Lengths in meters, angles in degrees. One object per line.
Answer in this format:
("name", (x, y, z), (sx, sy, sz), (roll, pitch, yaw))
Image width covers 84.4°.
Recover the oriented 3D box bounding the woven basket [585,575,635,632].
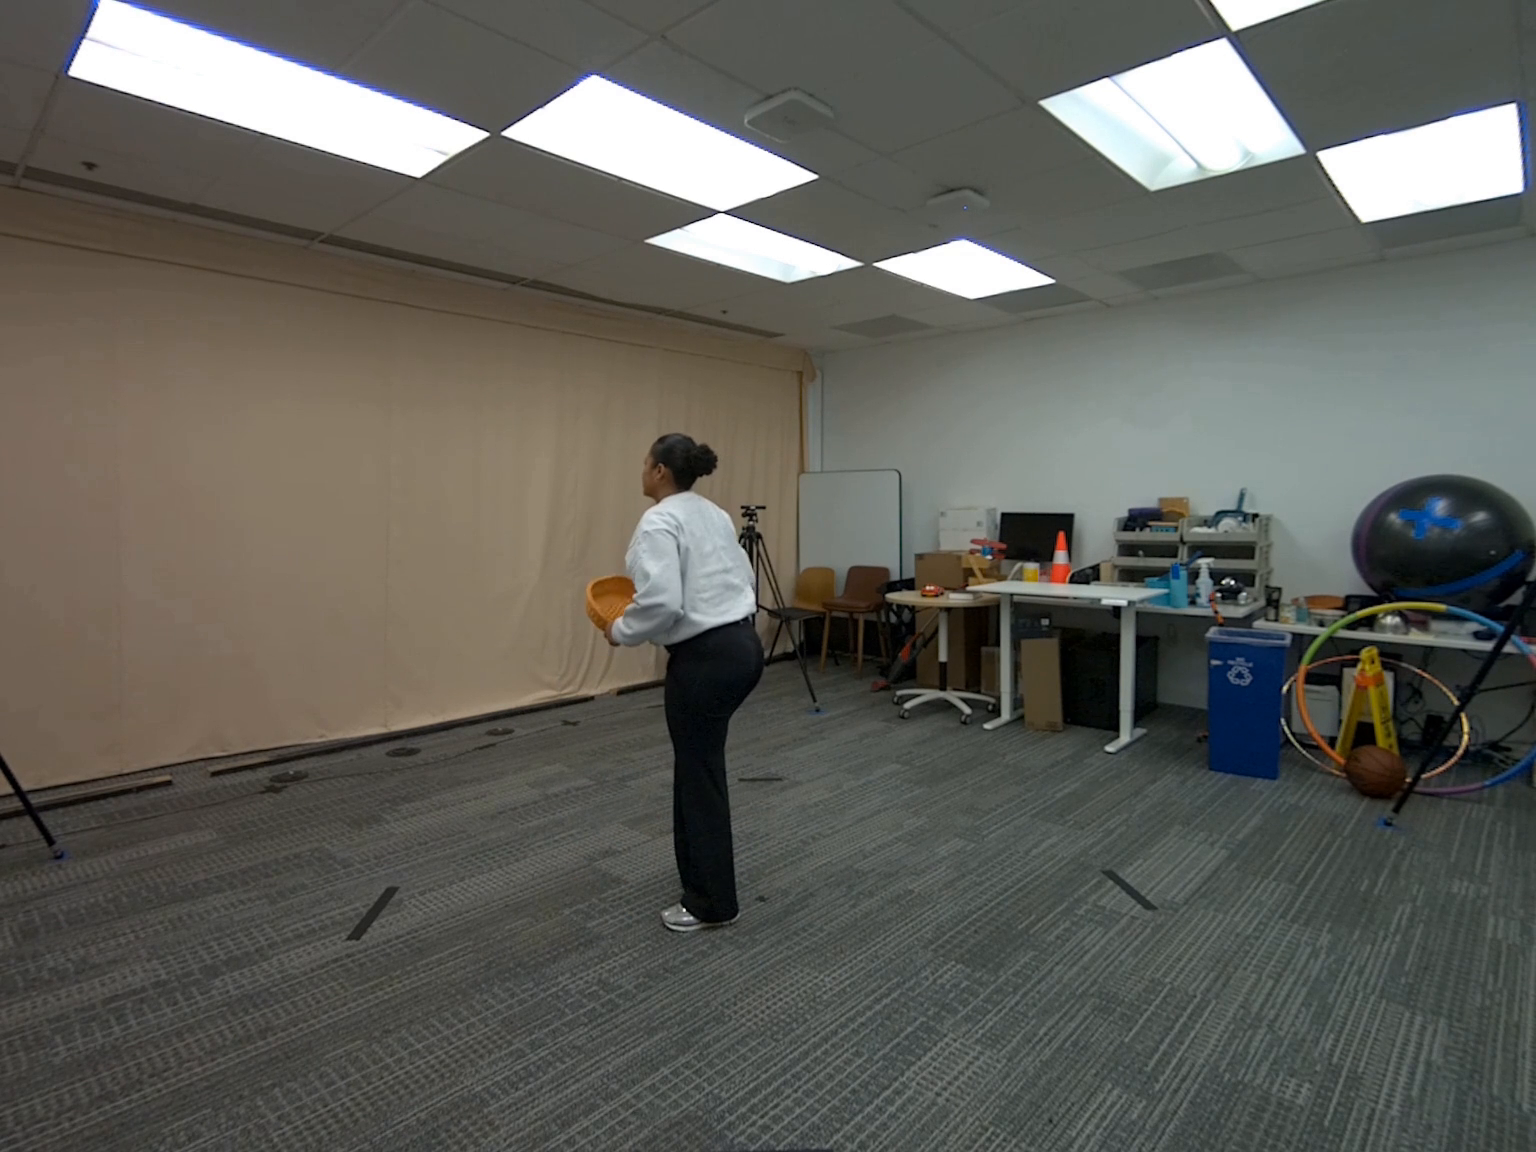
("woven basket", (-0.508, 0.123, 2.963), (0.257, 0.074, 0.342), (46, 25, 16))
